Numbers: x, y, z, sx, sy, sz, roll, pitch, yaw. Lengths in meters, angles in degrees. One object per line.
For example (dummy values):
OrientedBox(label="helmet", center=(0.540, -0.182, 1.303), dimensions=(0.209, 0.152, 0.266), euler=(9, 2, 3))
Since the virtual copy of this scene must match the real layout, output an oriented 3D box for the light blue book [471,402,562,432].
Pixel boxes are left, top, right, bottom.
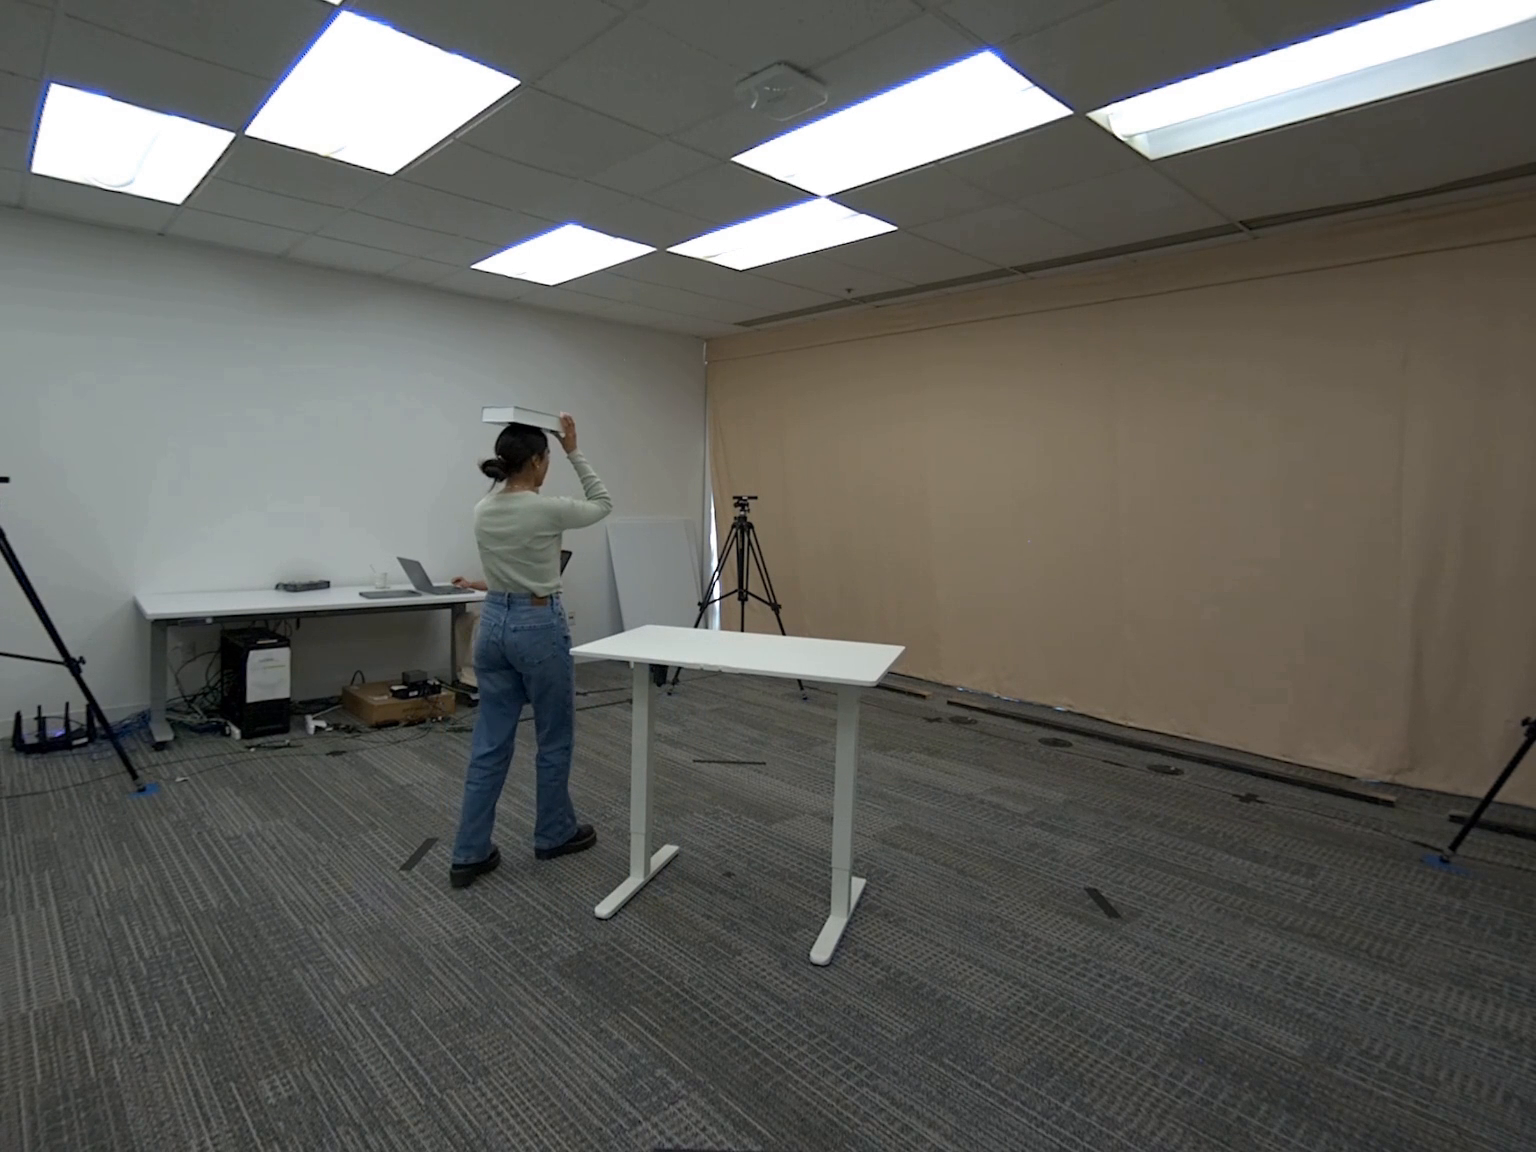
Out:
OrientedBox(label="light blue book", center=(-0.917, -0.582, 3.103), dimensions=(0.196, 0.059, 0.255), euler=(7, 2, 34))
